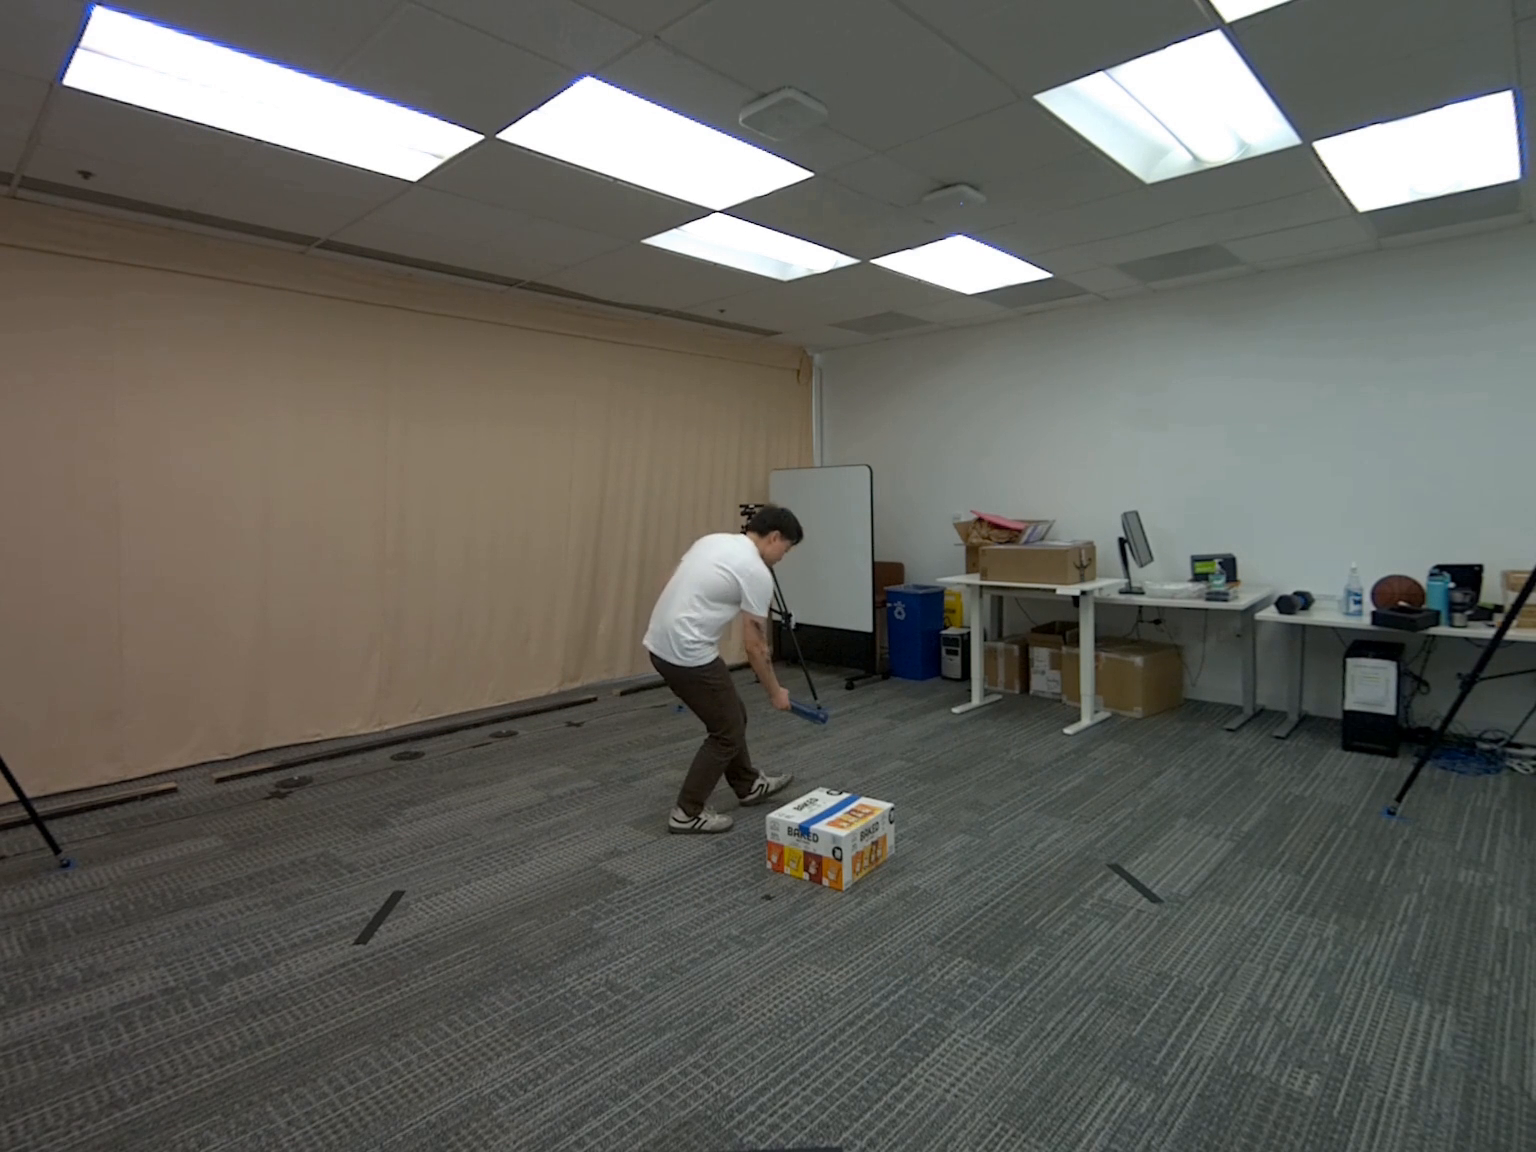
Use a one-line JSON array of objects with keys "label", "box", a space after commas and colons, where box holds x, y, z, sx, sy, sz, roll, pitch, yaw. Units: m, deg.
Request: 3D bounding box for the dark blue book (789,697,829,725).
[{"label": "dark blue book", "box": [0.146, 0.591, 3.729, 0.245, 0.045, 0.163, 22, -11, 0]}]
